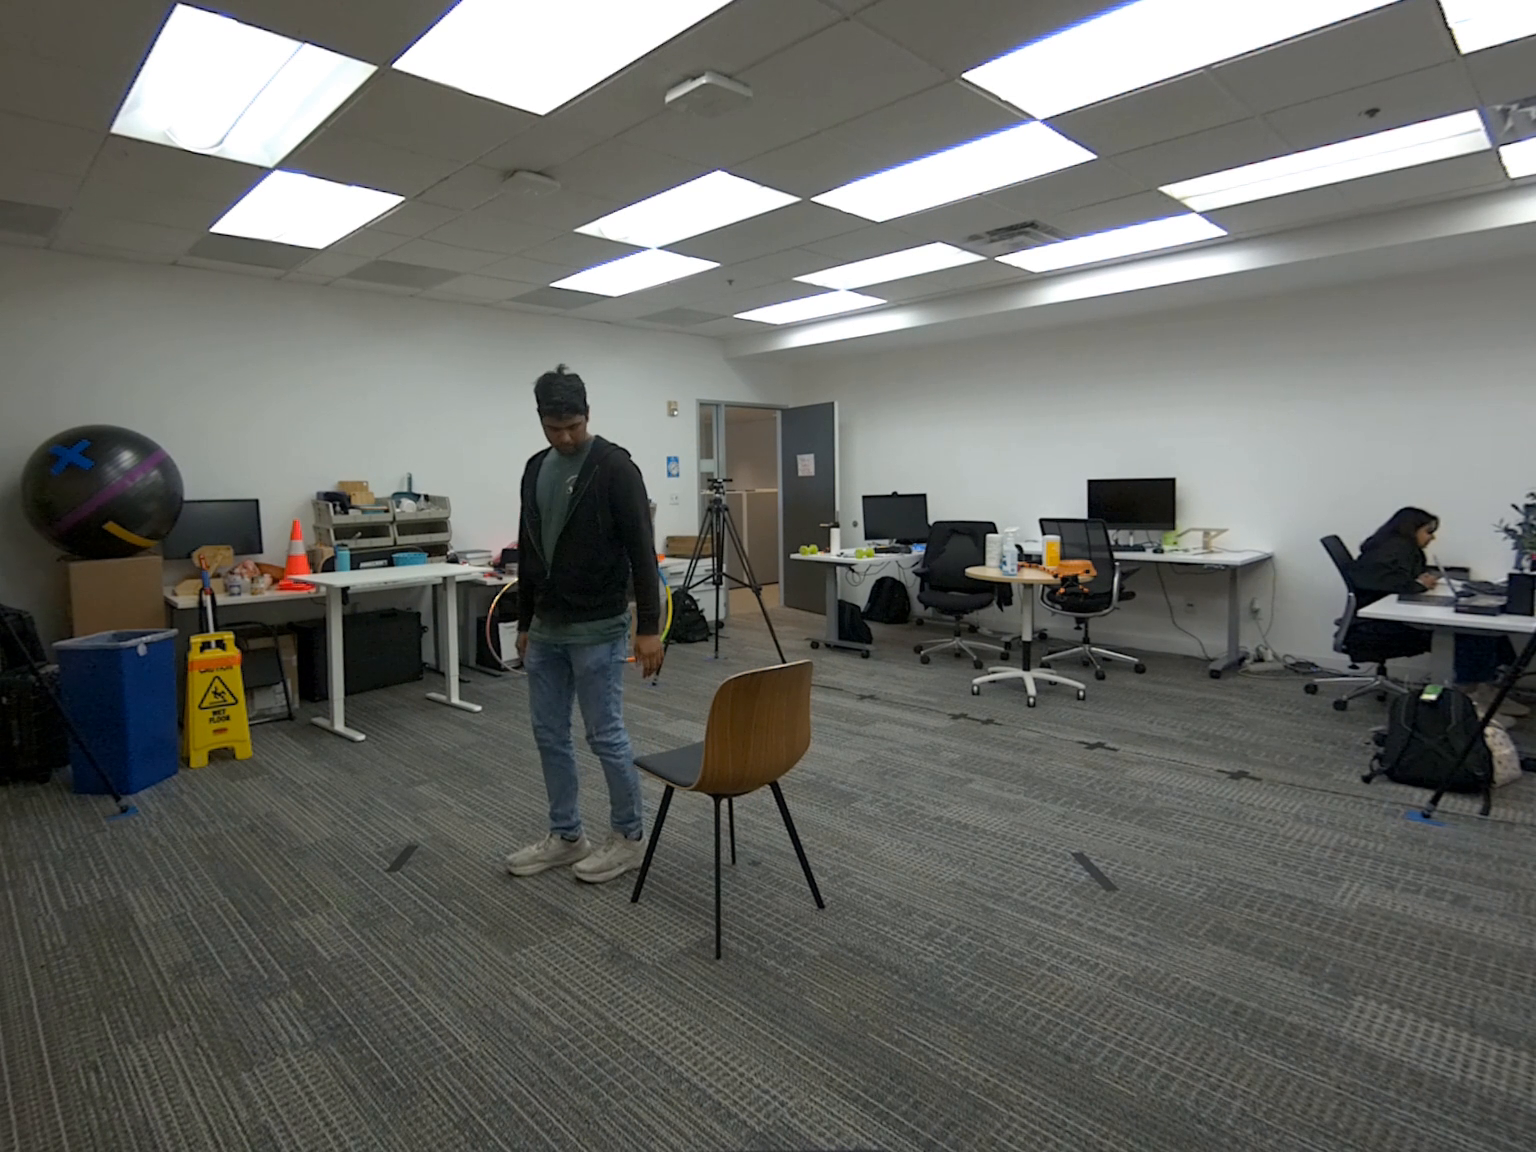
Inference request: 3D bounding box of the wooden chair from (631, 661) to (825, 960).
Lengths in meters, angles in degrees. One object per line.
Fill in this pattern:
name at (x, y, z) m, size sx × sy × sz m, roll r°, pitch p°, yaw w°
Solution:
wooden chair at (-0.141, 0.660, 2.774) m, size 0.465 × 0.871 × 0.540 m, roll -5°, pitch 10°, yaw -40°
